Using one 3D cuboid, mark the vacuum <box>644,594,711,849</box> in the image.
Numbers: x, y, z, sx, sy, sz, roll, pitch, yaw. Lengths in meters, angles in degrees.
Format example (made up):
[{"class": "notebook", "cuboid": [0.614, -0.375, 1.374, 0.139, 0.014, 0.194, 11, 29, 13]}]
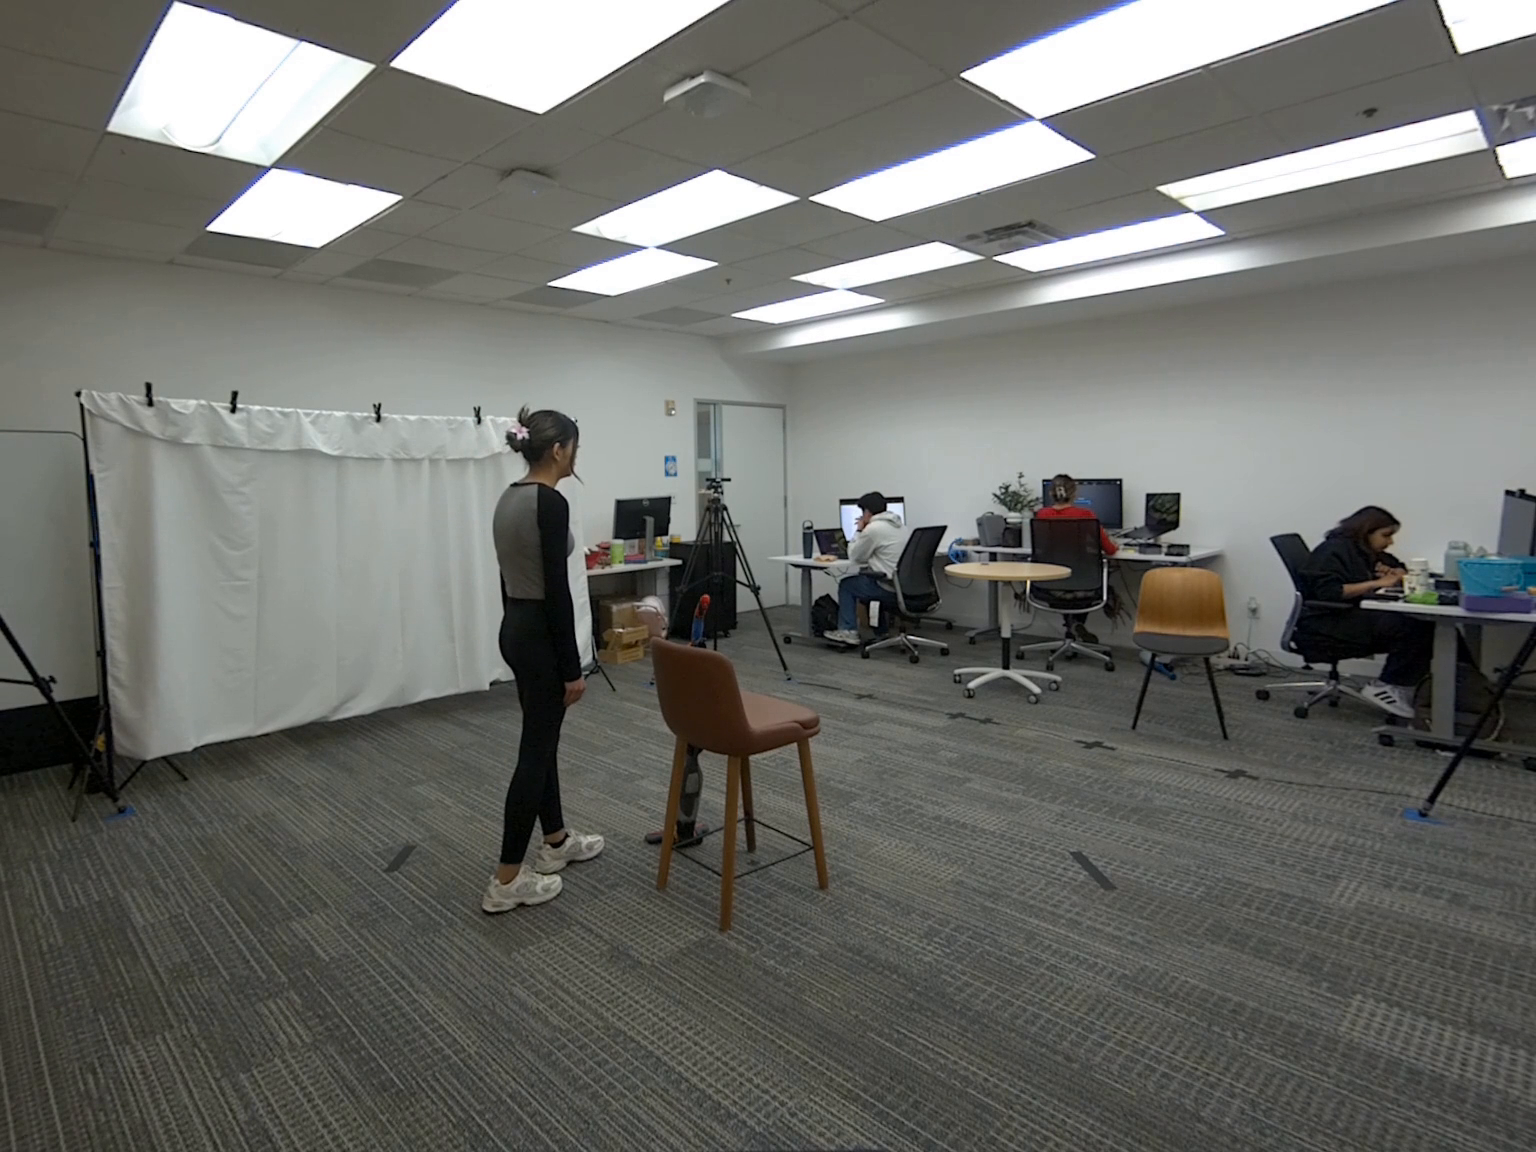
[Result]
[{"class": "vacuum", "cuboid": [-0.272, 0.548, 3.109, 0.247, 1.033, 0.149, -2, 24, -25]}]
